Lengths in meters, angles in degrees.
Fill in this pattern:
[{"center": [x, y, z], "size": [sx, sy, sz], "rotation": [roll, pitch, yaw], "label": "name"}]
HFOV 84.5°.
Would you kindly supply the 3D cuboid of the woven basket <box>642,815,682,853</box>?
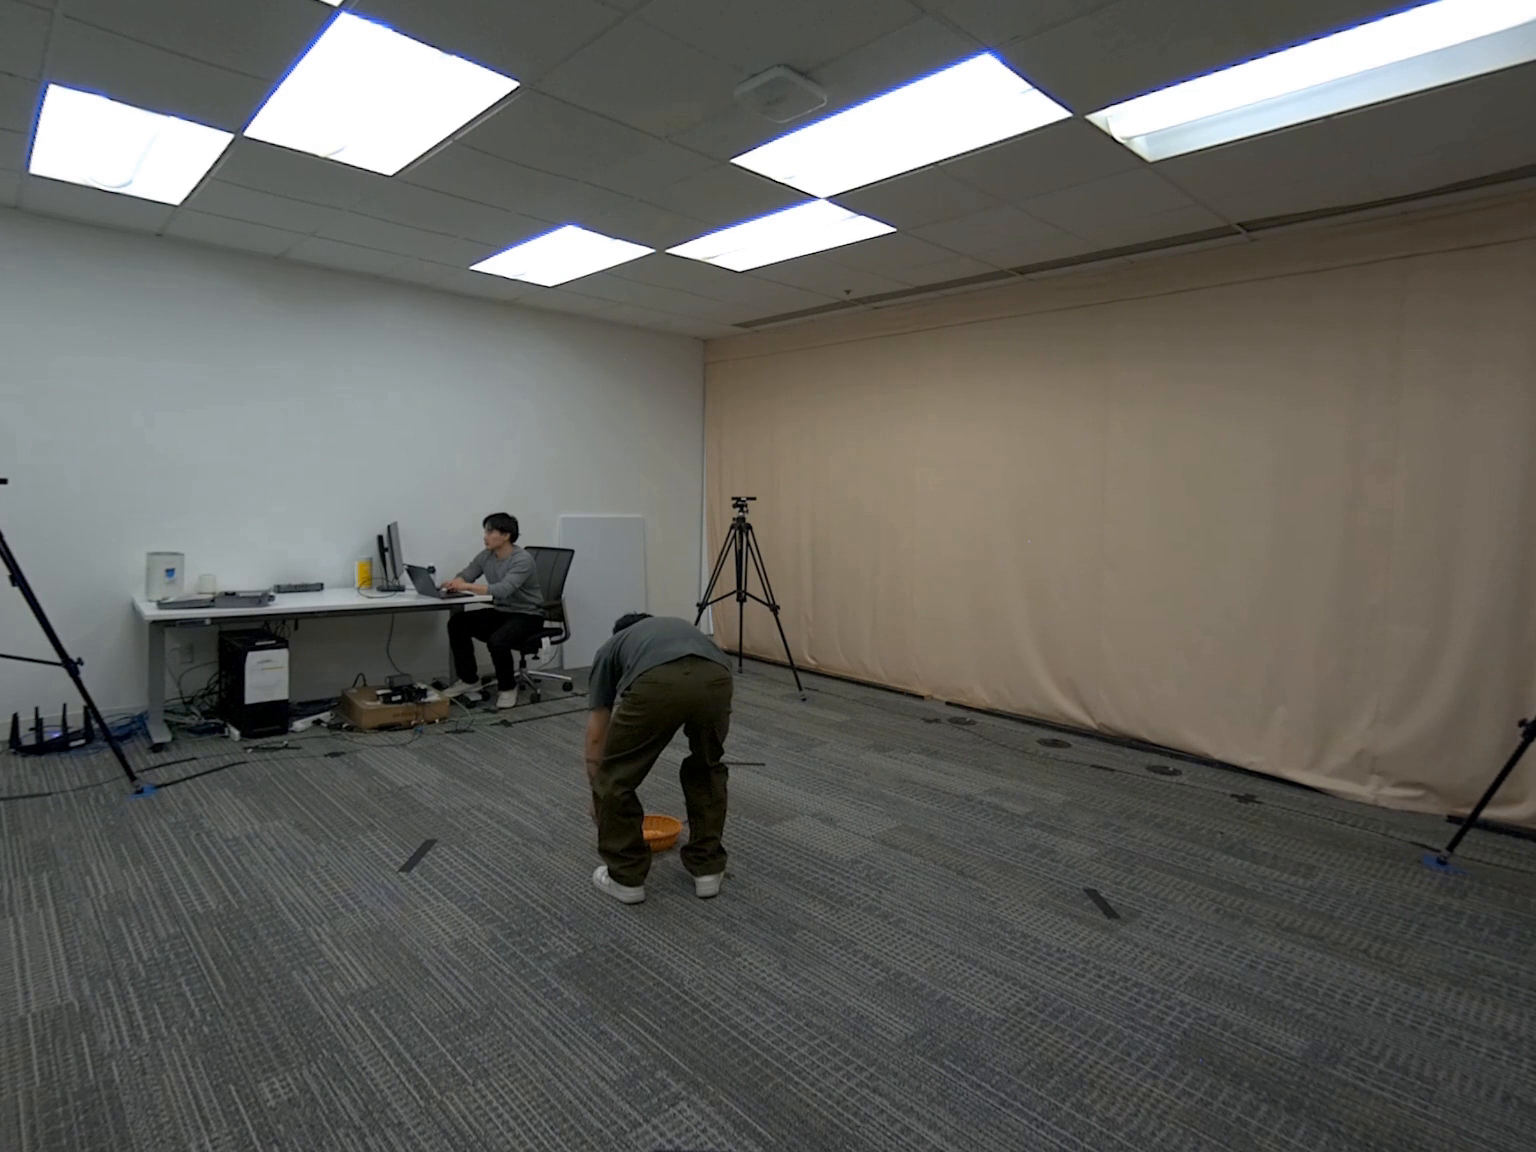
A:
[{"center": [-0.517, 1.035, 3.371], "size": [0.345, 0.073, 0.257], "rotation": [0, 5, -21], "label": "woven basket"}]
